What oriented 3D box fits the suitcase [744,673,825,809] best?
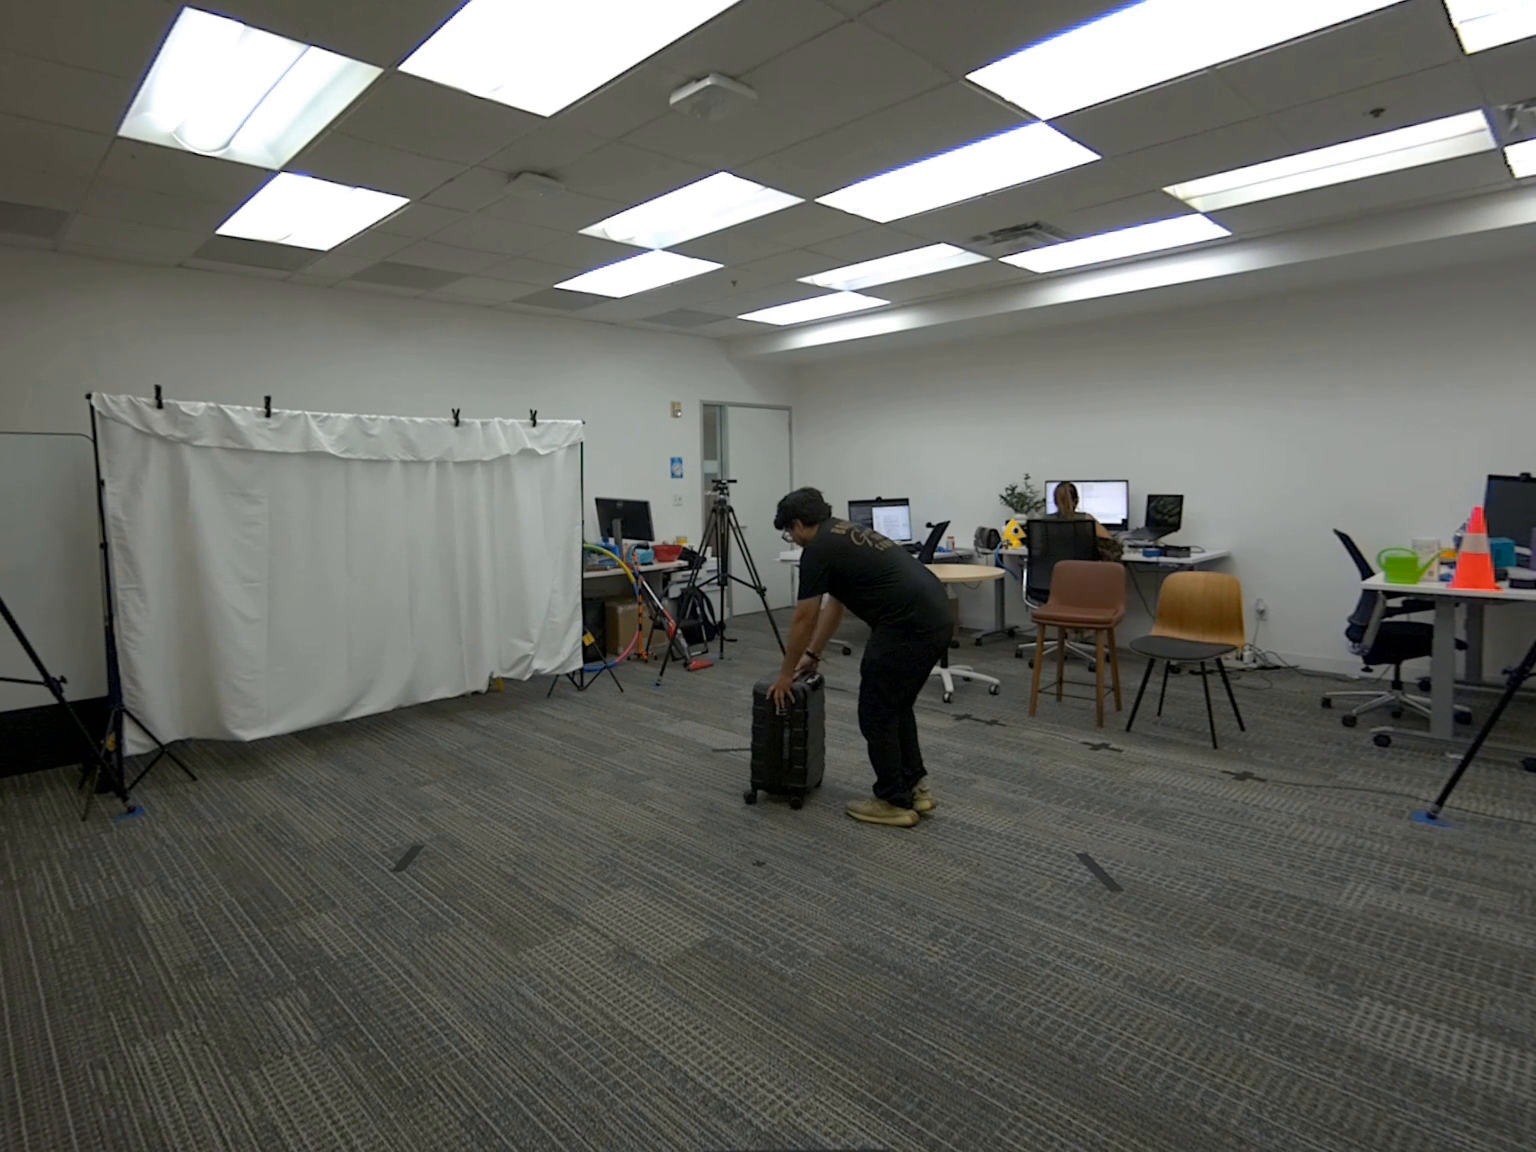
[{"bbox_3d":[0.095,0.698,3.786,0.253,0.547,0.369,3,4,20],"label":"suitcase"}]
